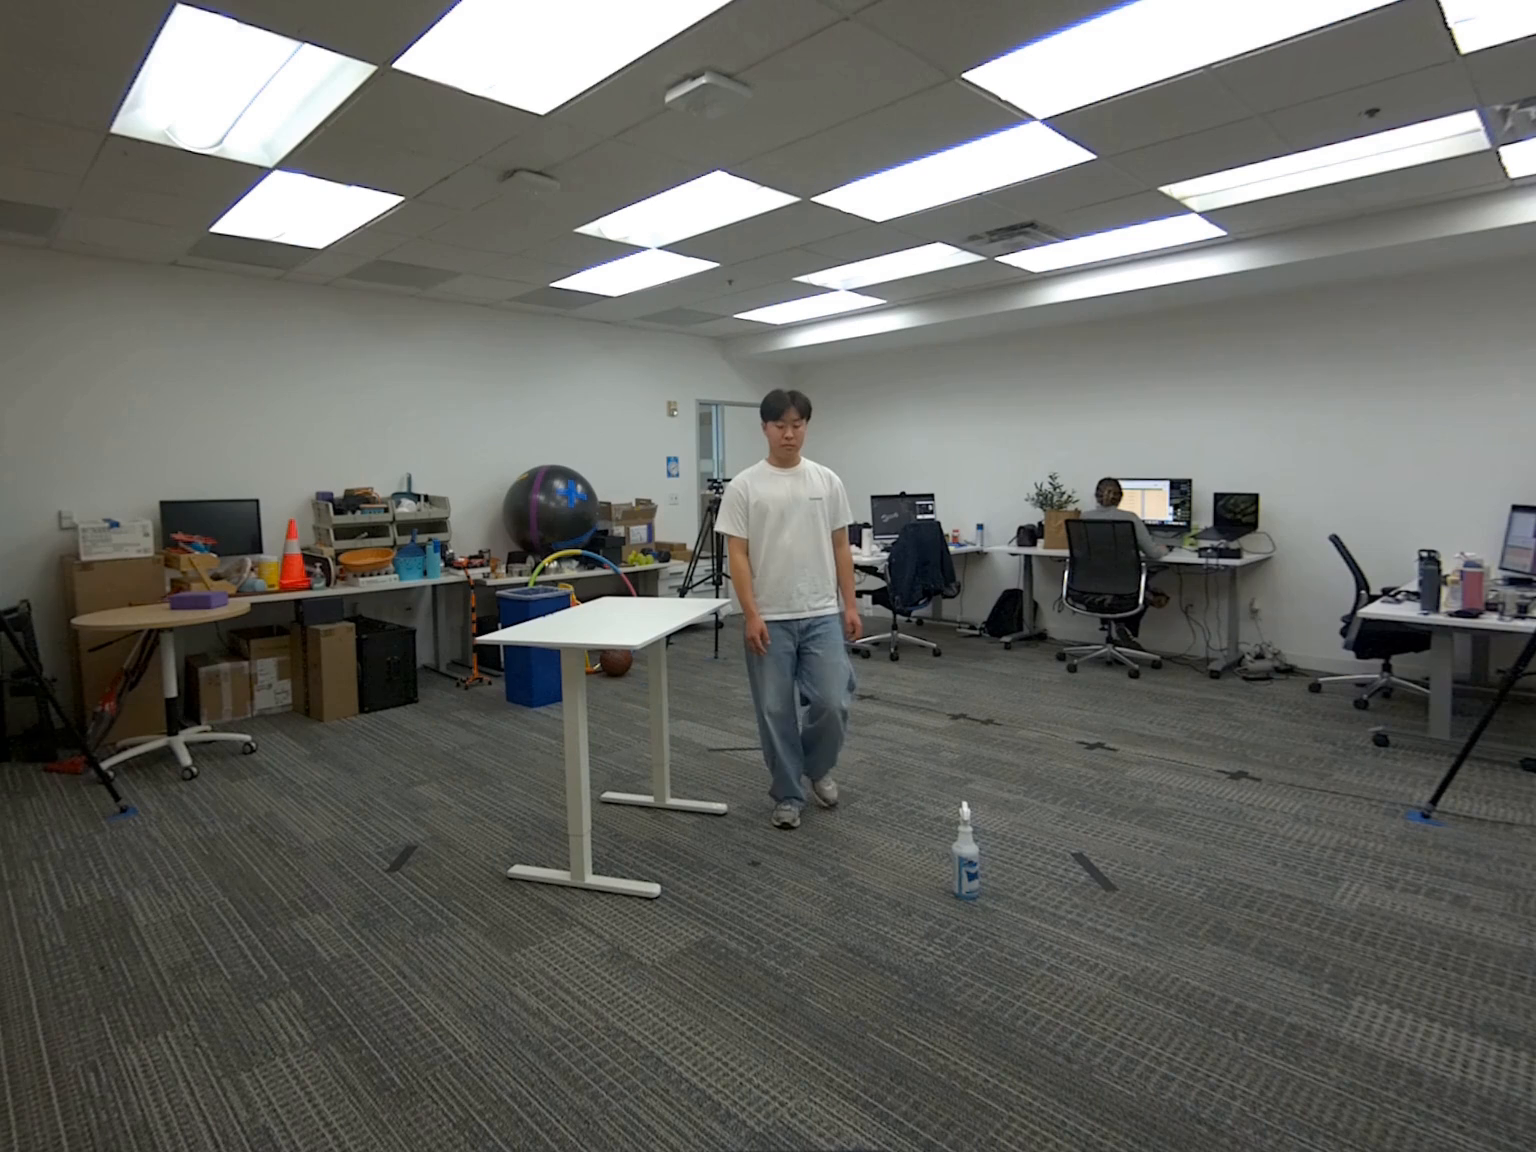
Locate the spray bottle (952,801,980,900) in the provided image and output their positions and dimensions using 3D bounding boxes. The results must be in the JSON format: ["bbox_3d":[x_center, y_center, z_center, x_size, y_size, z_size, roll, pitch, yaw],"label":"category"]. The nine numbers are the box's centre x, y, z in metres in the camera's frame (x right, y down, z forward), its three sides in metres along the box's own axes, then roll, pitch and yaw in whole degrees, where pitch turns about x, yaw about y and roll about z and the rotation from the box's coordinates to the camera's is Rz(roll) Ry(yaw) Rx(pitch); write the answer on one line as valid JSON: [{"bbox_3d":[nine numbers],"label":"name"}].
[{"bbox_3d":[0.648,0.914,2.854,0.089,0.297,0.088,-3,2,34],"label":"spray bottle"}]
